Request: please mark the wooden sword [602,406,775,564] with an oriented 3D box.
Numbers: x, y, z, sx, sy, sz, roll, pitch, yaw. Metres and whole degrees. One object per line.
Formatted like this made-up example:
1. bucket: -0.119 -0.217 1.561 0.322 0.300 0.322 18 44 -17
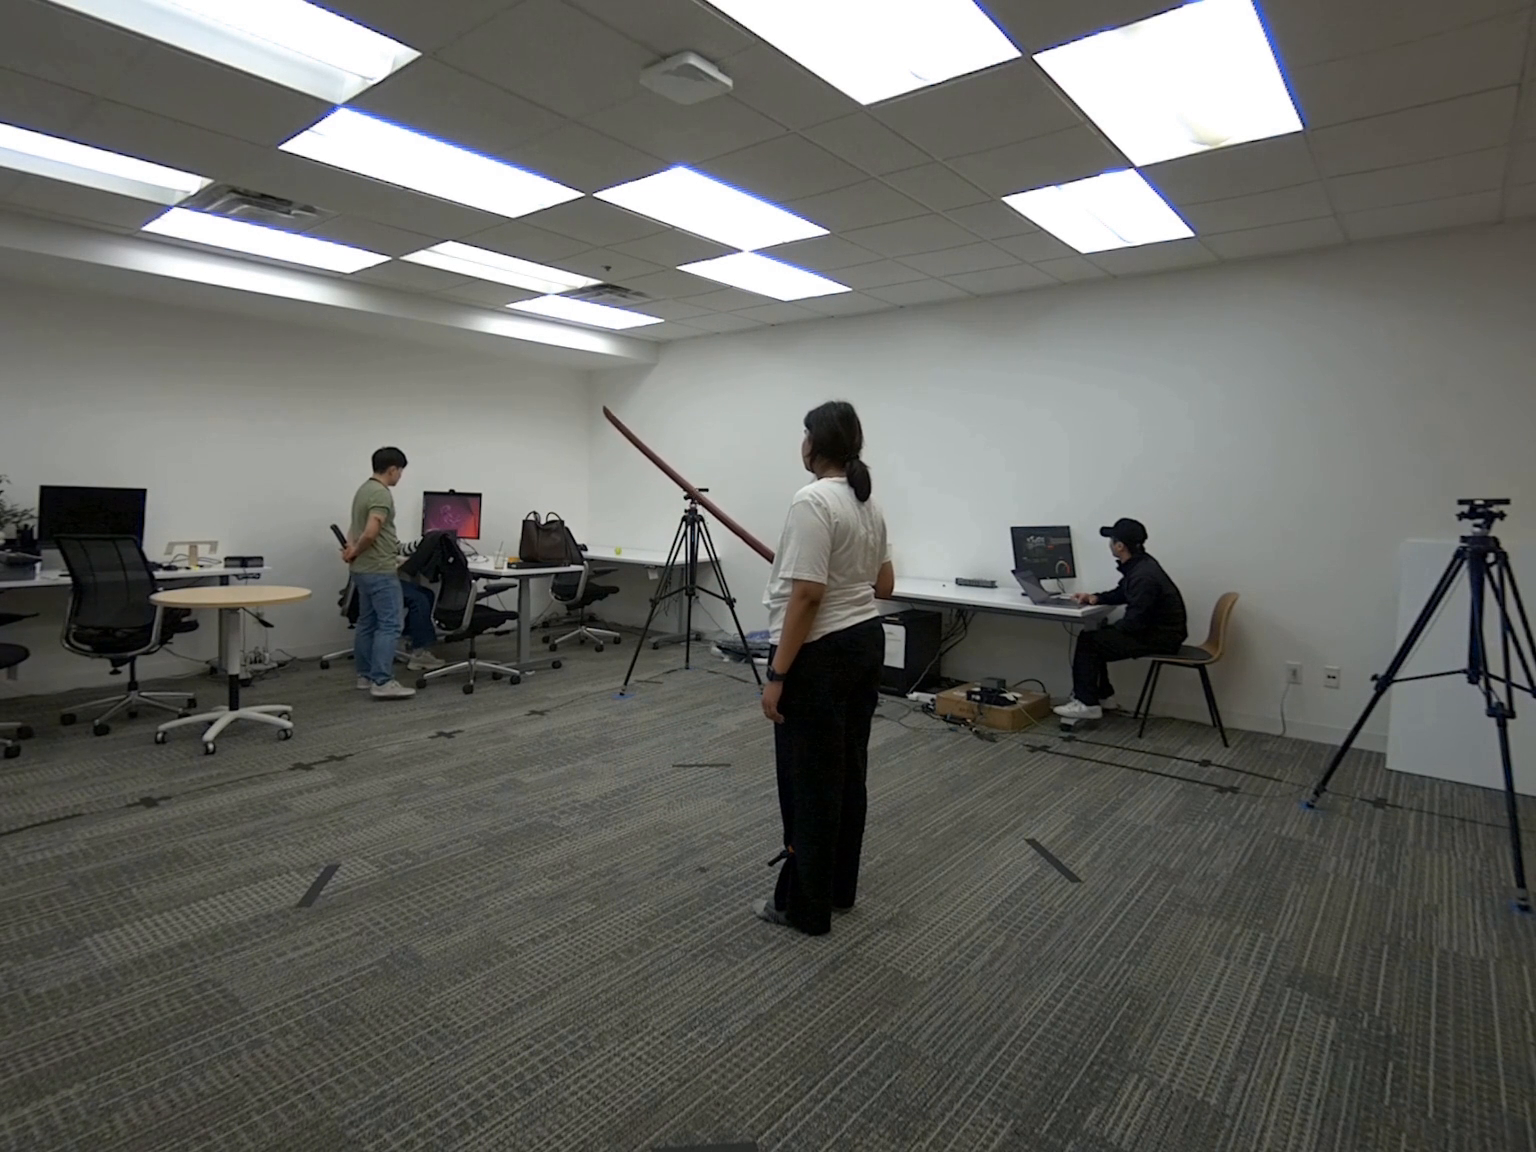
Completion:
1. wooden sword: -0.292 -0.317 3.146 1.046 0.024 0.050 42 22 15
